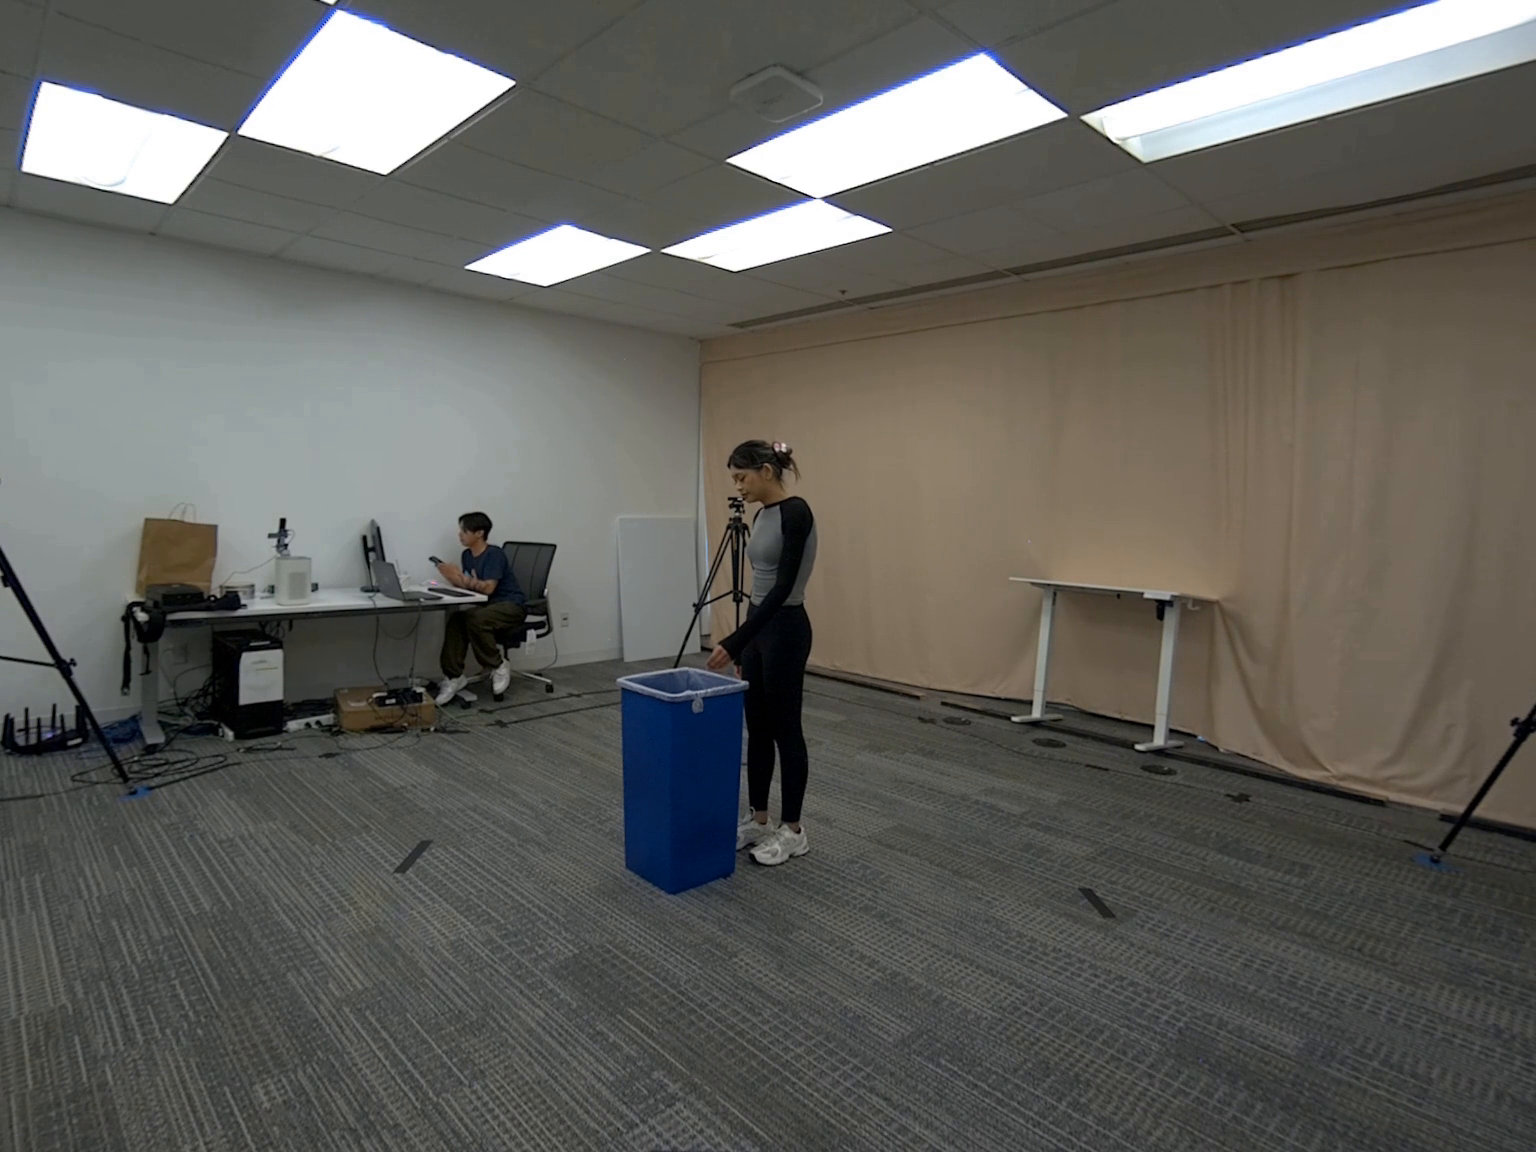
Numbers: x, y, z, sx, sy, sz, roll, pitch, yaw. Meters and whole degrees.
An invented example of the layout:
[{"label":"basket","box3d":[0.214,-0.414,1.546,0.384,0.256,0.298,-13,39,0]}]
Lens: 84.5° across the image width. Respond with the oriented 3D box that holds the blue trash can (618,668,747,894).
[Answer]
[{"label":"blue trash can","box3d":[-0.337,0.744,3.133,0.369,0.712,0.383,-1,4,-42]}]
